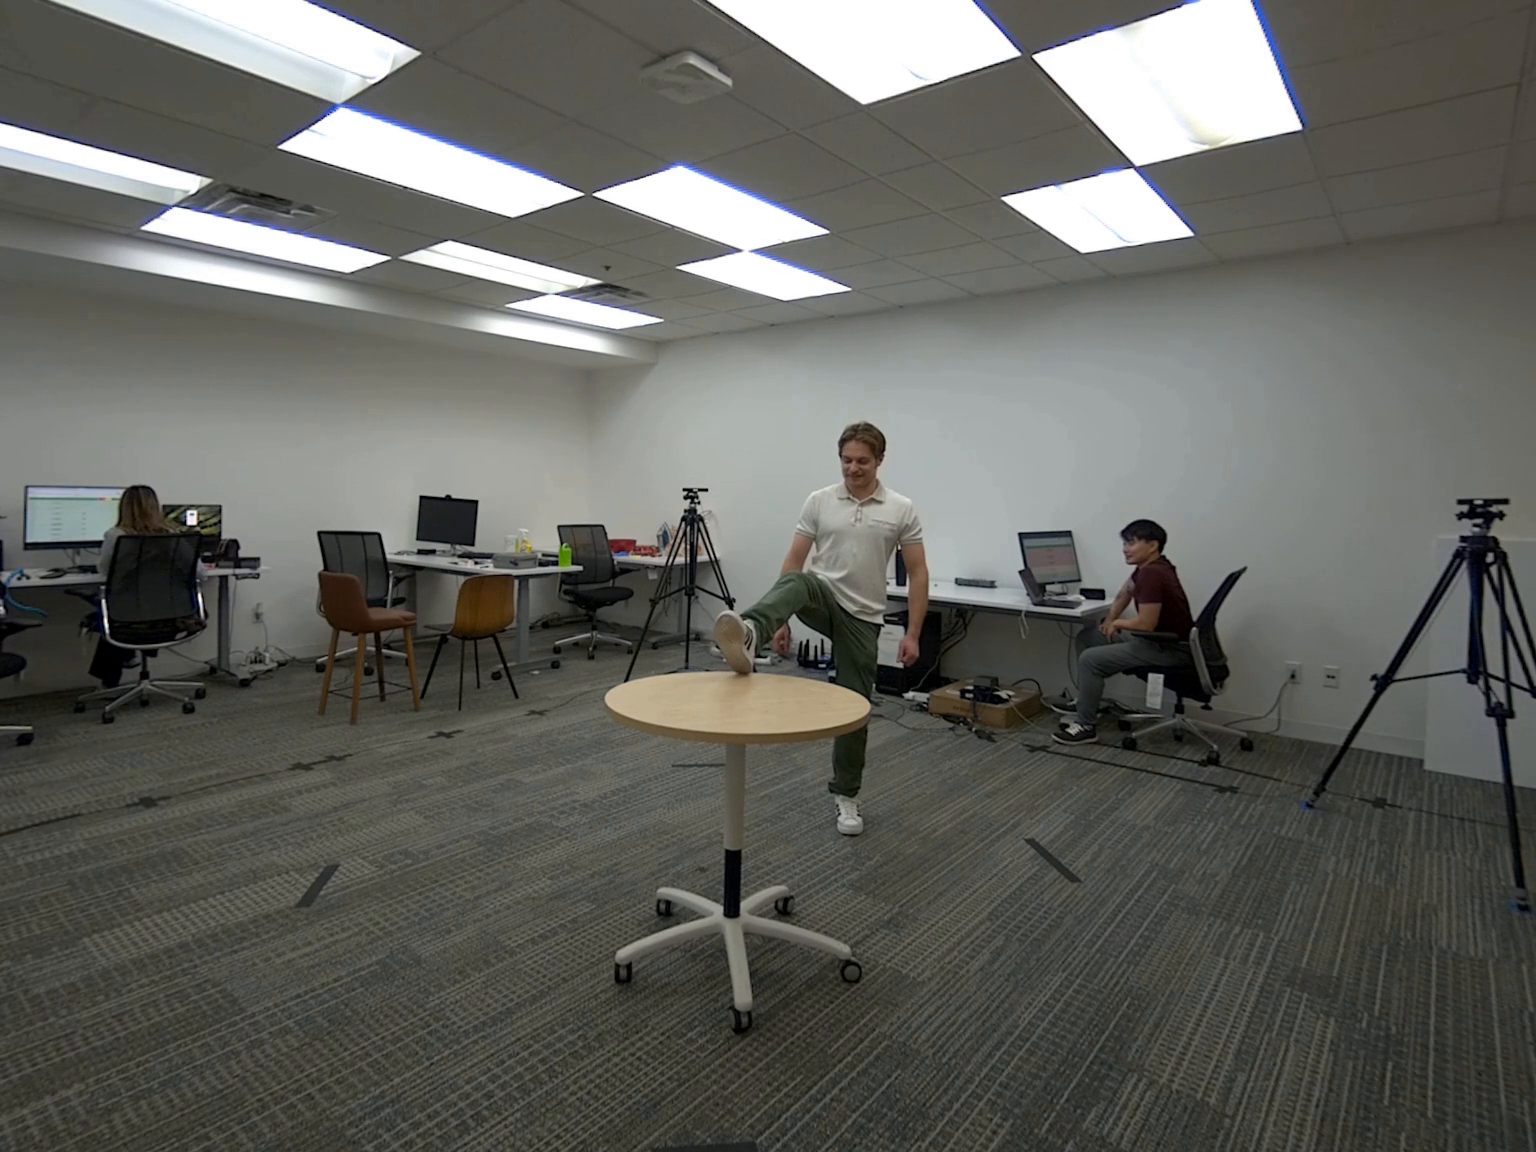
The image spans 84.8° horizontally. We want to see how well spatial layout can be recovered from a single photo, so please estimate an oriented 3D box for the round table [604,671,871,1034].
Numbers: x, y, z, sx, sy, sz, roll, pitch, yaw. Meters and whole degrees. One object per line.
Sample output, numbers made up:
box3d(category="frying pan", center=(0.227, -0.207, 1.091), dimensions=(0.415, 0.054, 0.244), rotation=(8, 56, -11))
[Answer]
box3d(category="round table", center=(-0.113, 0.744, 2.491), dimensions=(0.763, 0.792, 0.767), rotation=(1, 4, -2))
